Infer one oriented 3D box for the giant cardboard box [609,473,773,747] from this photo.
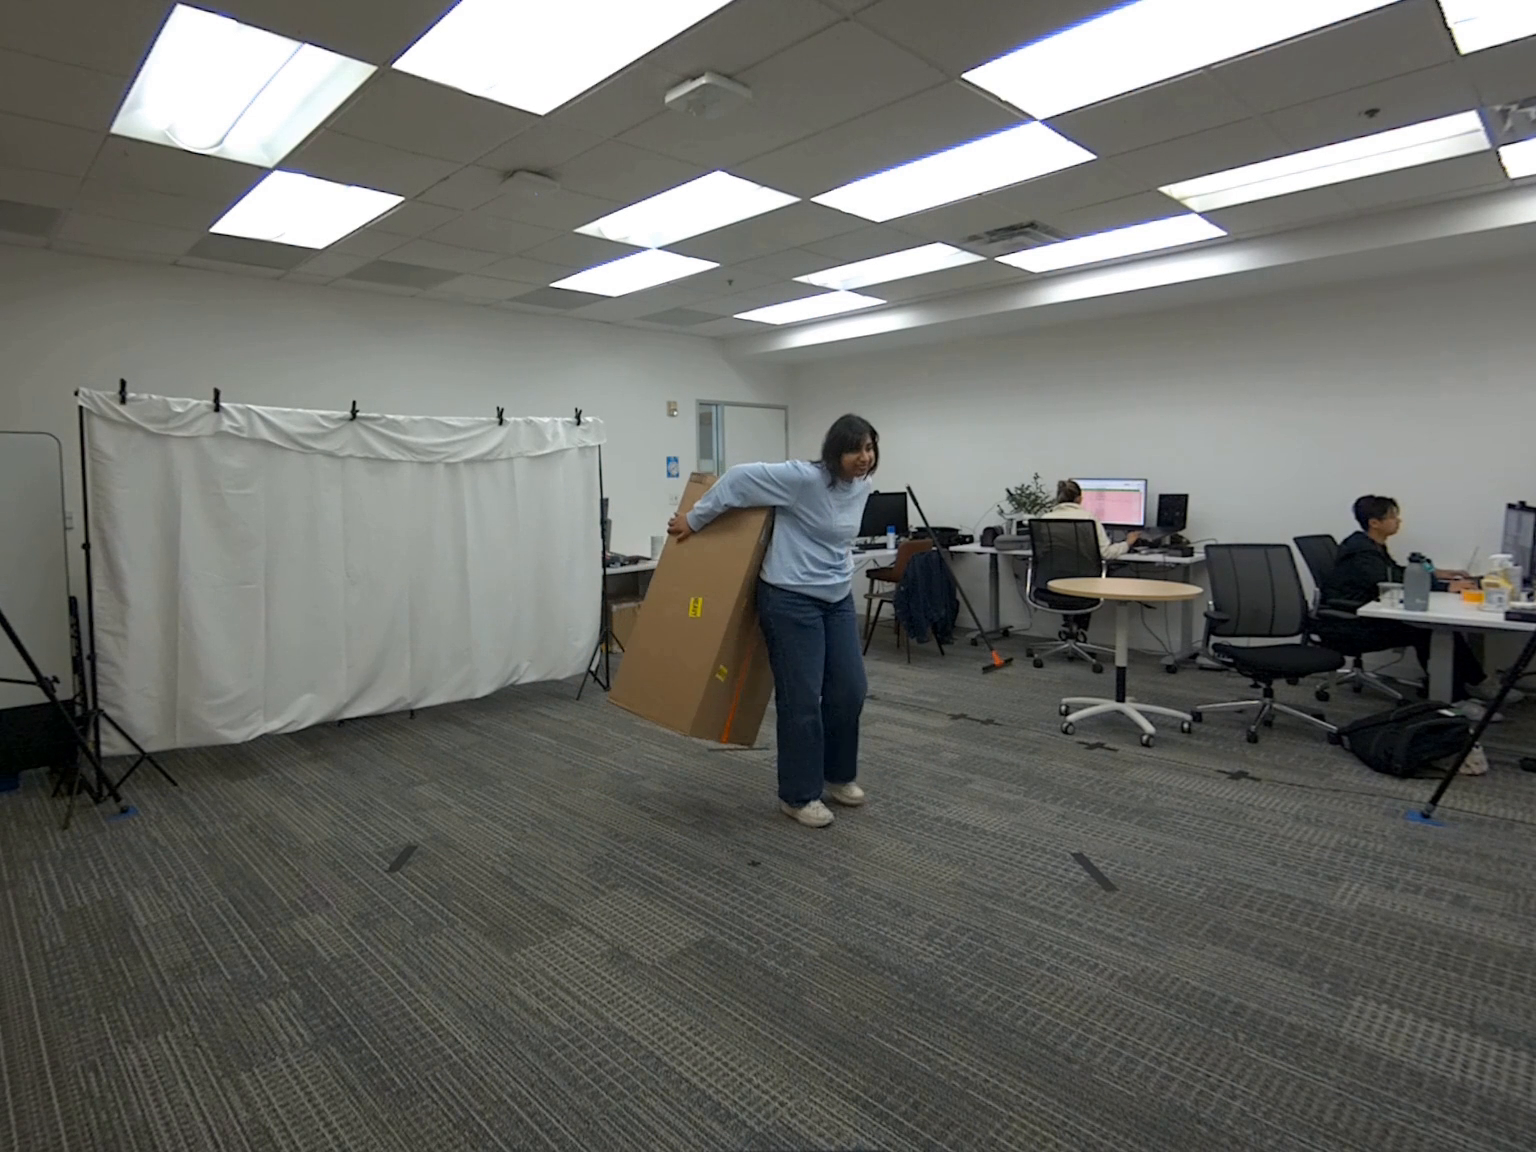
[{"bbox_3d":[-0.198,0.154,3.669,0.440,1.030,0.557,15,-8,30],"label":"giant cardboard box"}]
